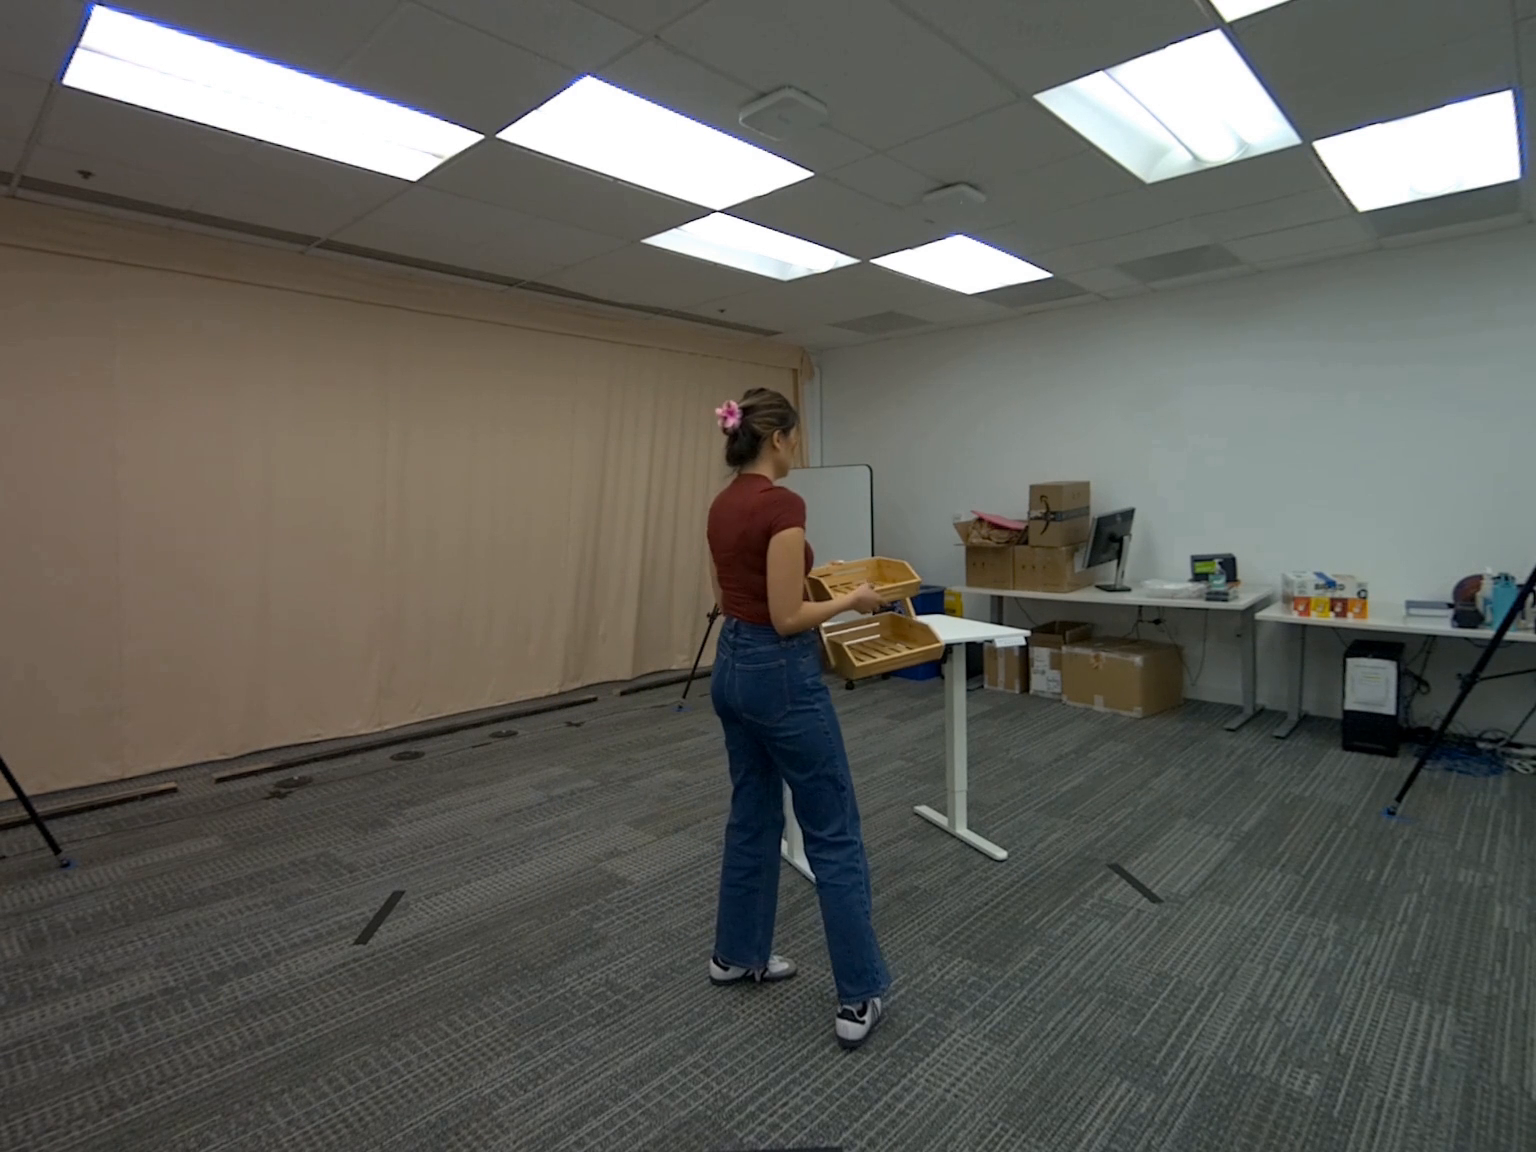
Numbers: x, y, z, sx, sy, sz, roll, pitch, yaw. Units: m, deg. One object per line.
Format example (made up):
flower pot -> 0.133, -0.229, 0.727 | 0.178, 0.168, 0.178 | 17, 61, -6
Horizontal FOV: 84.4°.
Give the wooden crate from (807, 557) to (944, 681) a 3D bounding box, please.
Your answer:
wooden crate -> 0.299, 0.108, 2.426 | 0.317, 0.271, 0.311 | -10, 11, -25
